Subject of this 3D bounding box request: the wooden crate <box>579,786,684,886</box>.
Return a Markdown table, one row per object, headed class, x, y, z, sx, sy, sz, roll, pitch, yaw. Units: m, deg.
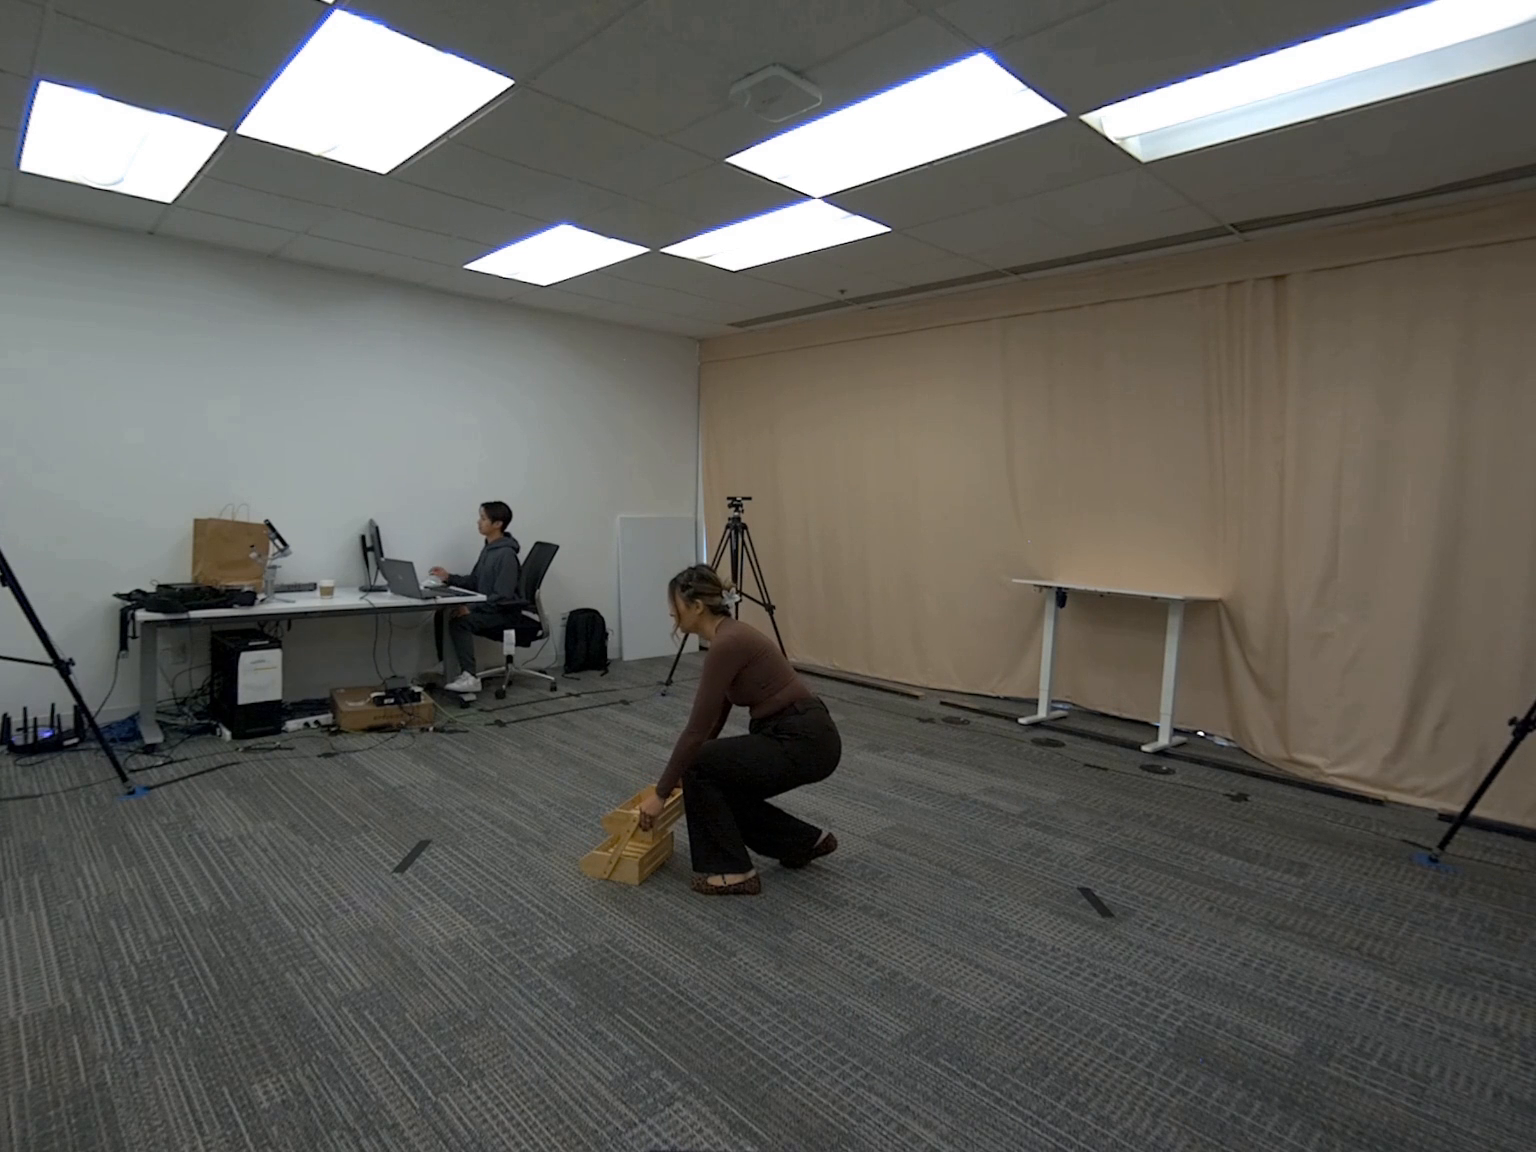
| class | x | y | z | sx | sy | sz | roll | pitch | yaw |
| --- | --- | --- | --- | --- | --- | --- | --- | --- | --- |
| wooden crate | -0.513 | 0.948 | 3.174 | 0.307 | 0.272 | 0.320 | 2 | 5 | 19 |
